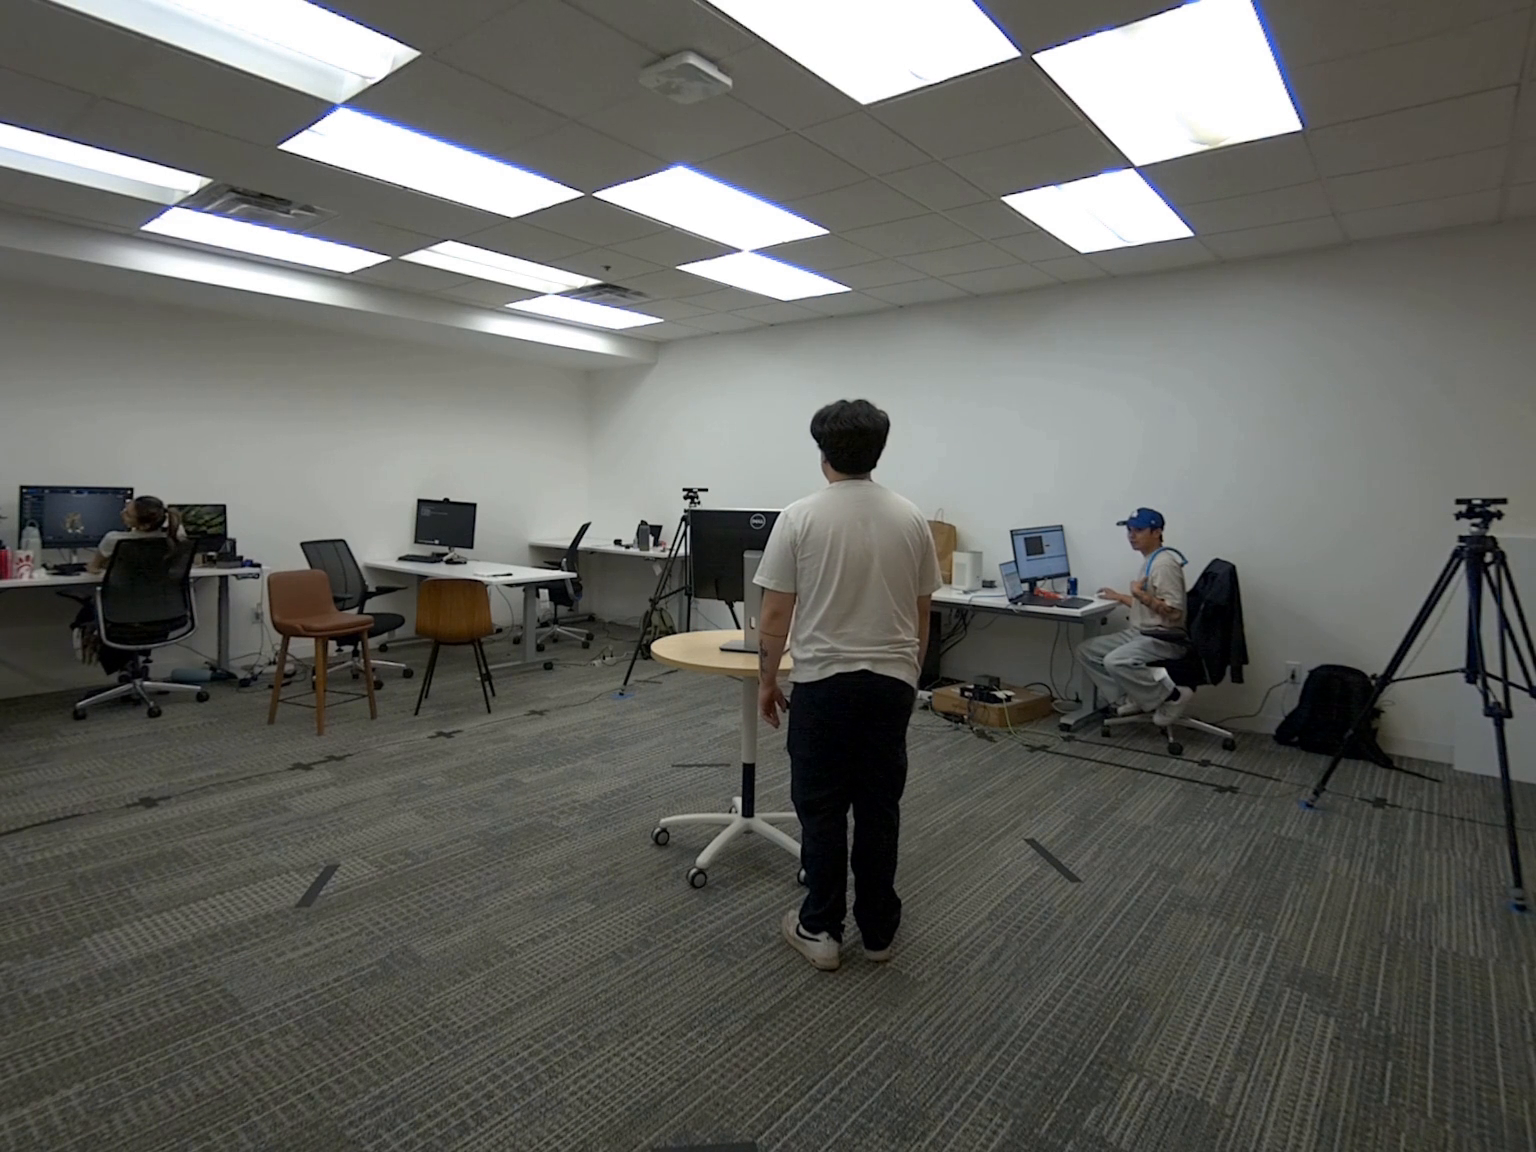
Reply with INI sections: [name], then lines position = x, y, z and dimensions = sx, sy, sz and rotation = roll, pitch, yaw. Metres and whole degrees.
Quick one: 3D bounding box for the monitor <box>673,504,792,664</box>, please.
[monitor]
position = -0.054, 0.019, 3.164
dimensions = 0.576, 0.550, 0.207
rotation = 2, 7, 18
